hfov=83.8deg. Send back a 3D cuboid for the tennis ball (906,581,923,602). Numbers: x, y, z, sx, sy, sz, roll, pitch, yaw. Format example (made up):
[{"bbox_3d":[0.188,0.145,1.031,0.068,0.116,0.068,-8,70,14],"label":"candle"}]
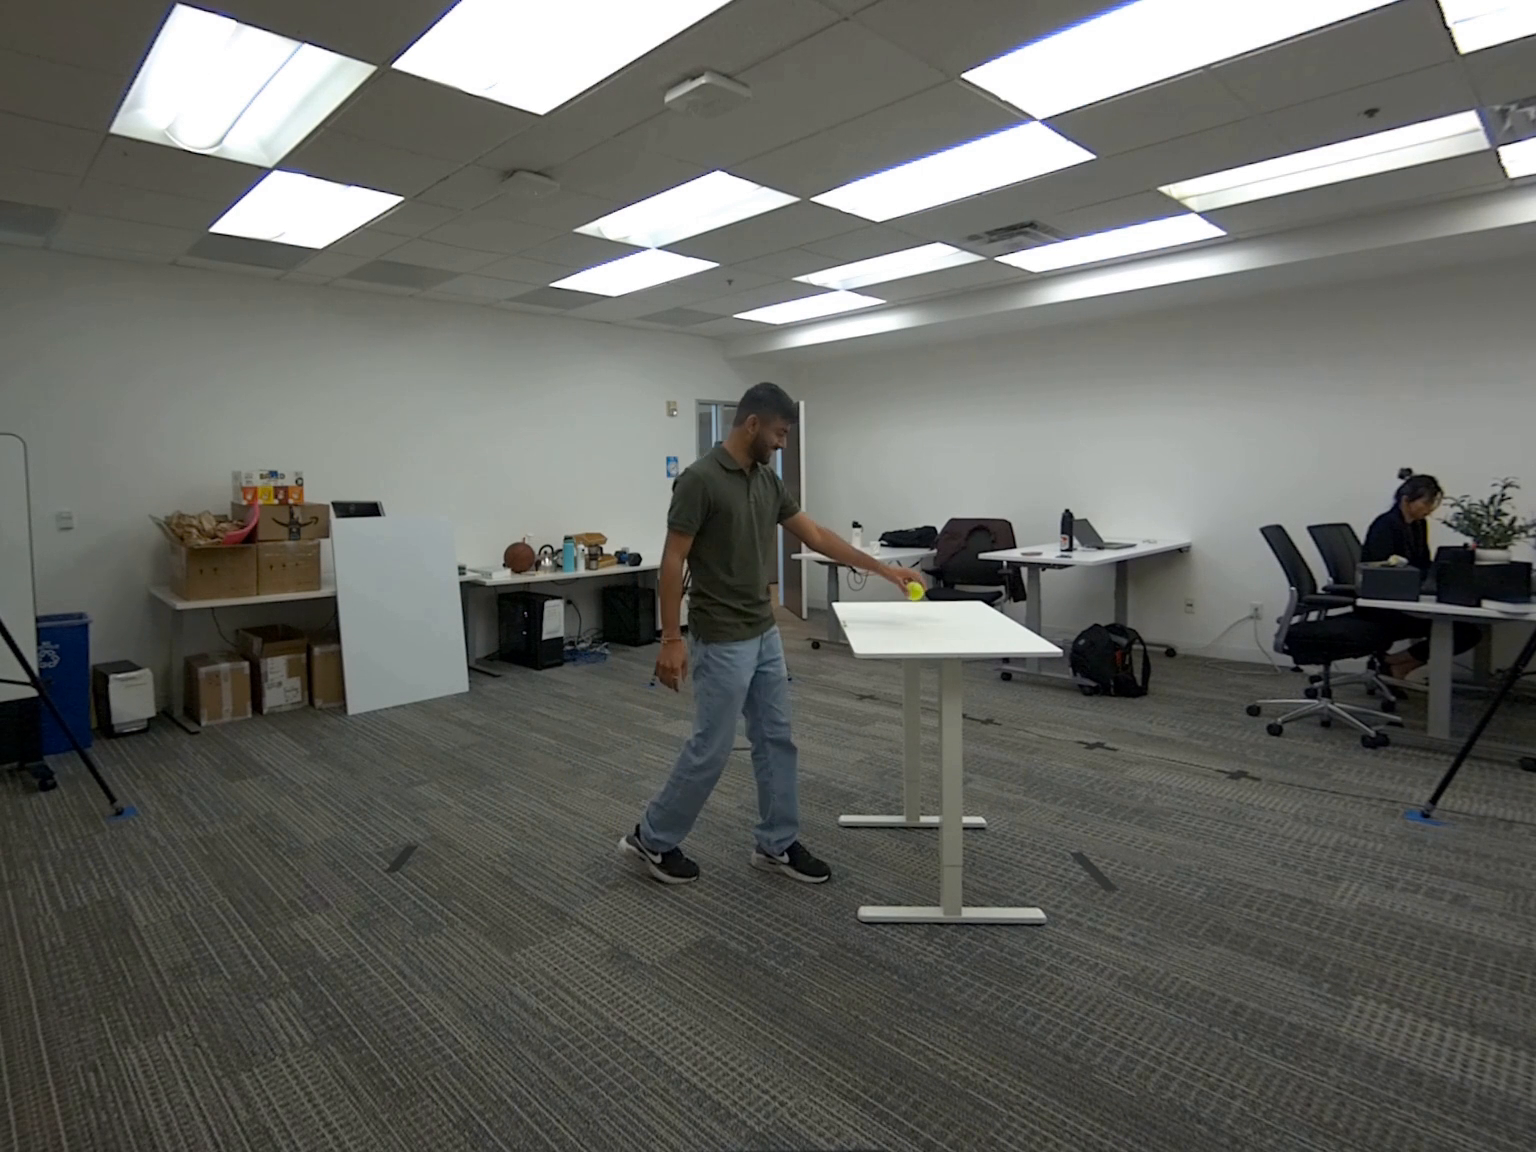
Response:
[{"bbox_3d":[0.474,0.048,3.012,0.066,0.066,0.067,-1,5,-2],"label":"tennis ball"}]
